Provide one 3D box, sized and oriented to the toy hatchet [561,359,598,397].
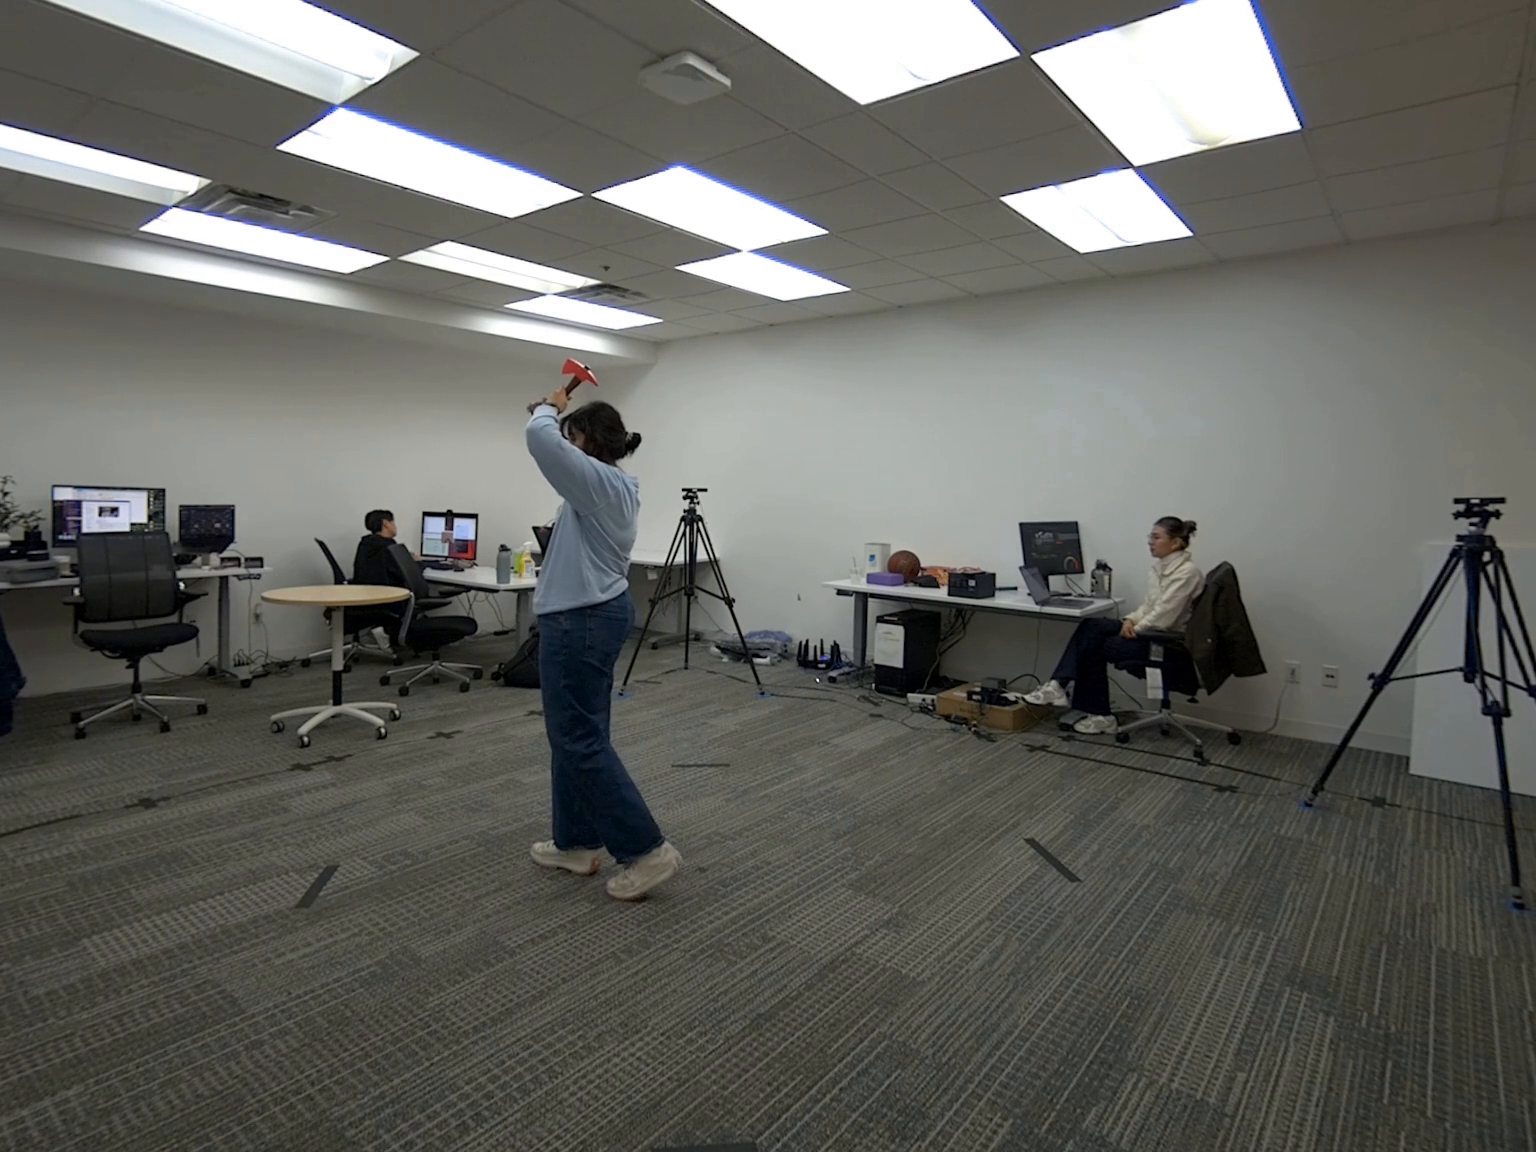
[{"bbox_3d":[-0.756,-0.675,2.988,0.272,0.127,0.030,-24,22,11],"label":"toy hatchet"}]
